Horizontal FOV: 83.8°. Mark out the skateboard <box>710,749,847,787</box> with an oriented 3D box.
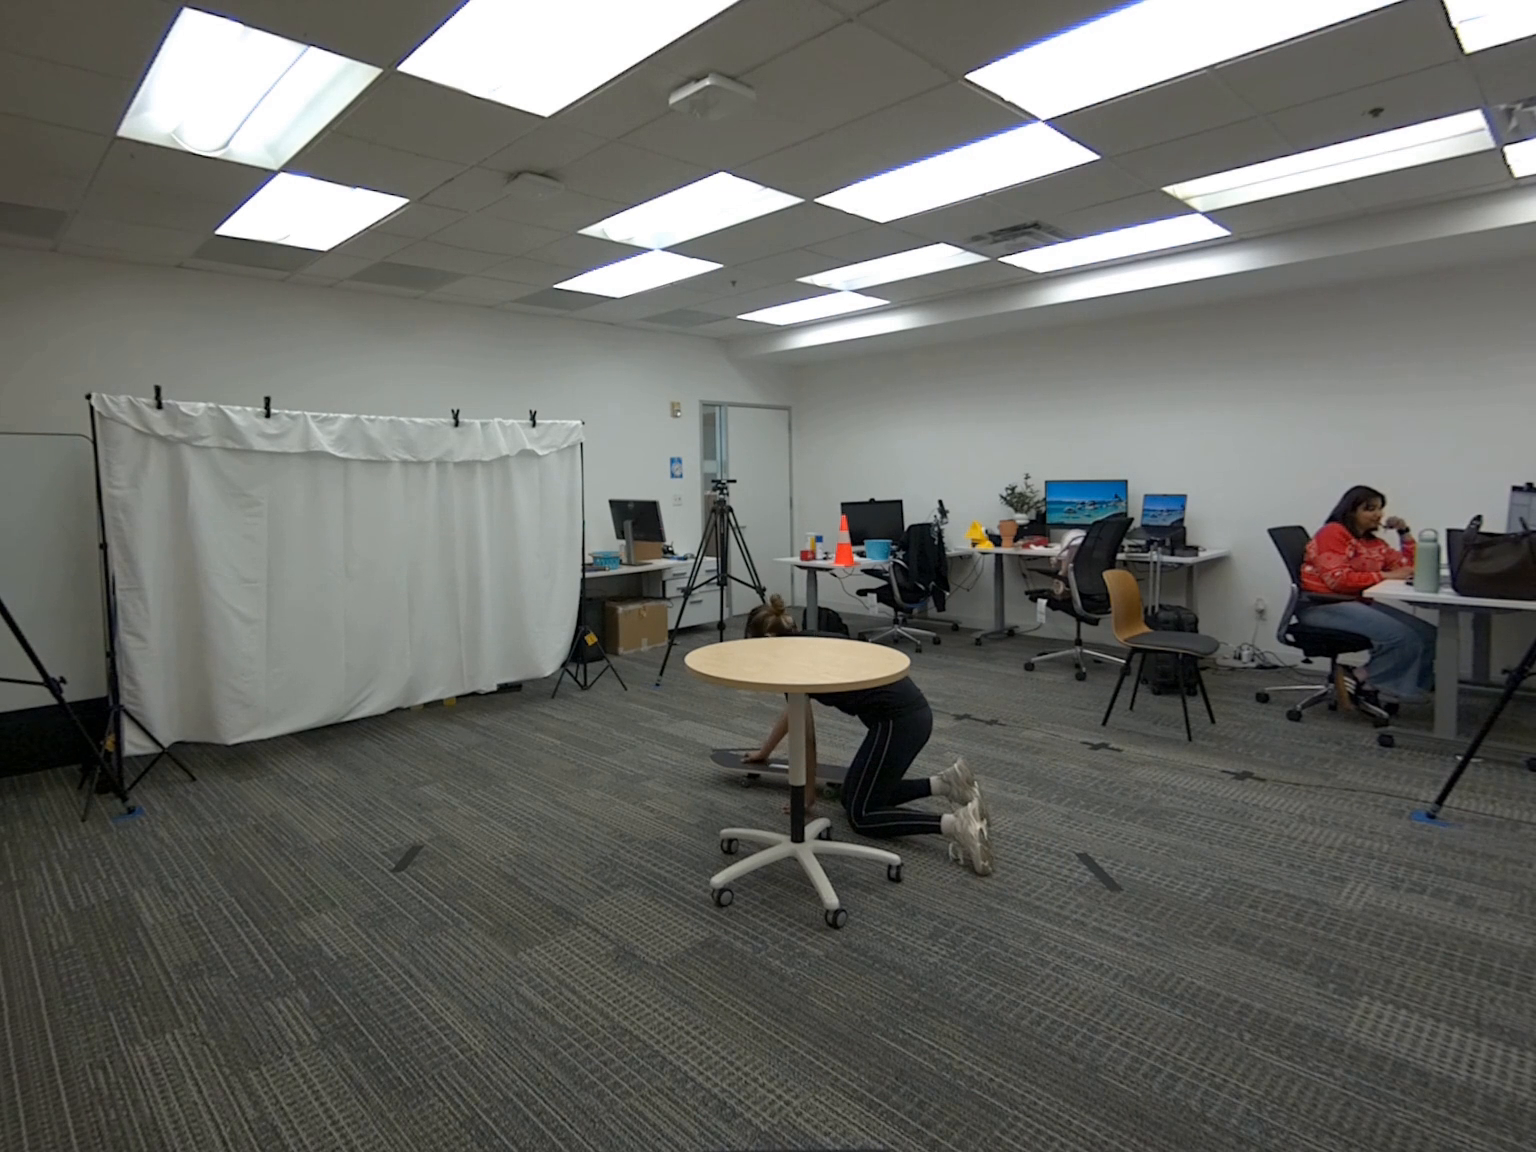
[{"bbox_3d":[0.111,0.905,3.887,0.801,0.110,0.190,2,7,21],"label":"skateboard"}]
